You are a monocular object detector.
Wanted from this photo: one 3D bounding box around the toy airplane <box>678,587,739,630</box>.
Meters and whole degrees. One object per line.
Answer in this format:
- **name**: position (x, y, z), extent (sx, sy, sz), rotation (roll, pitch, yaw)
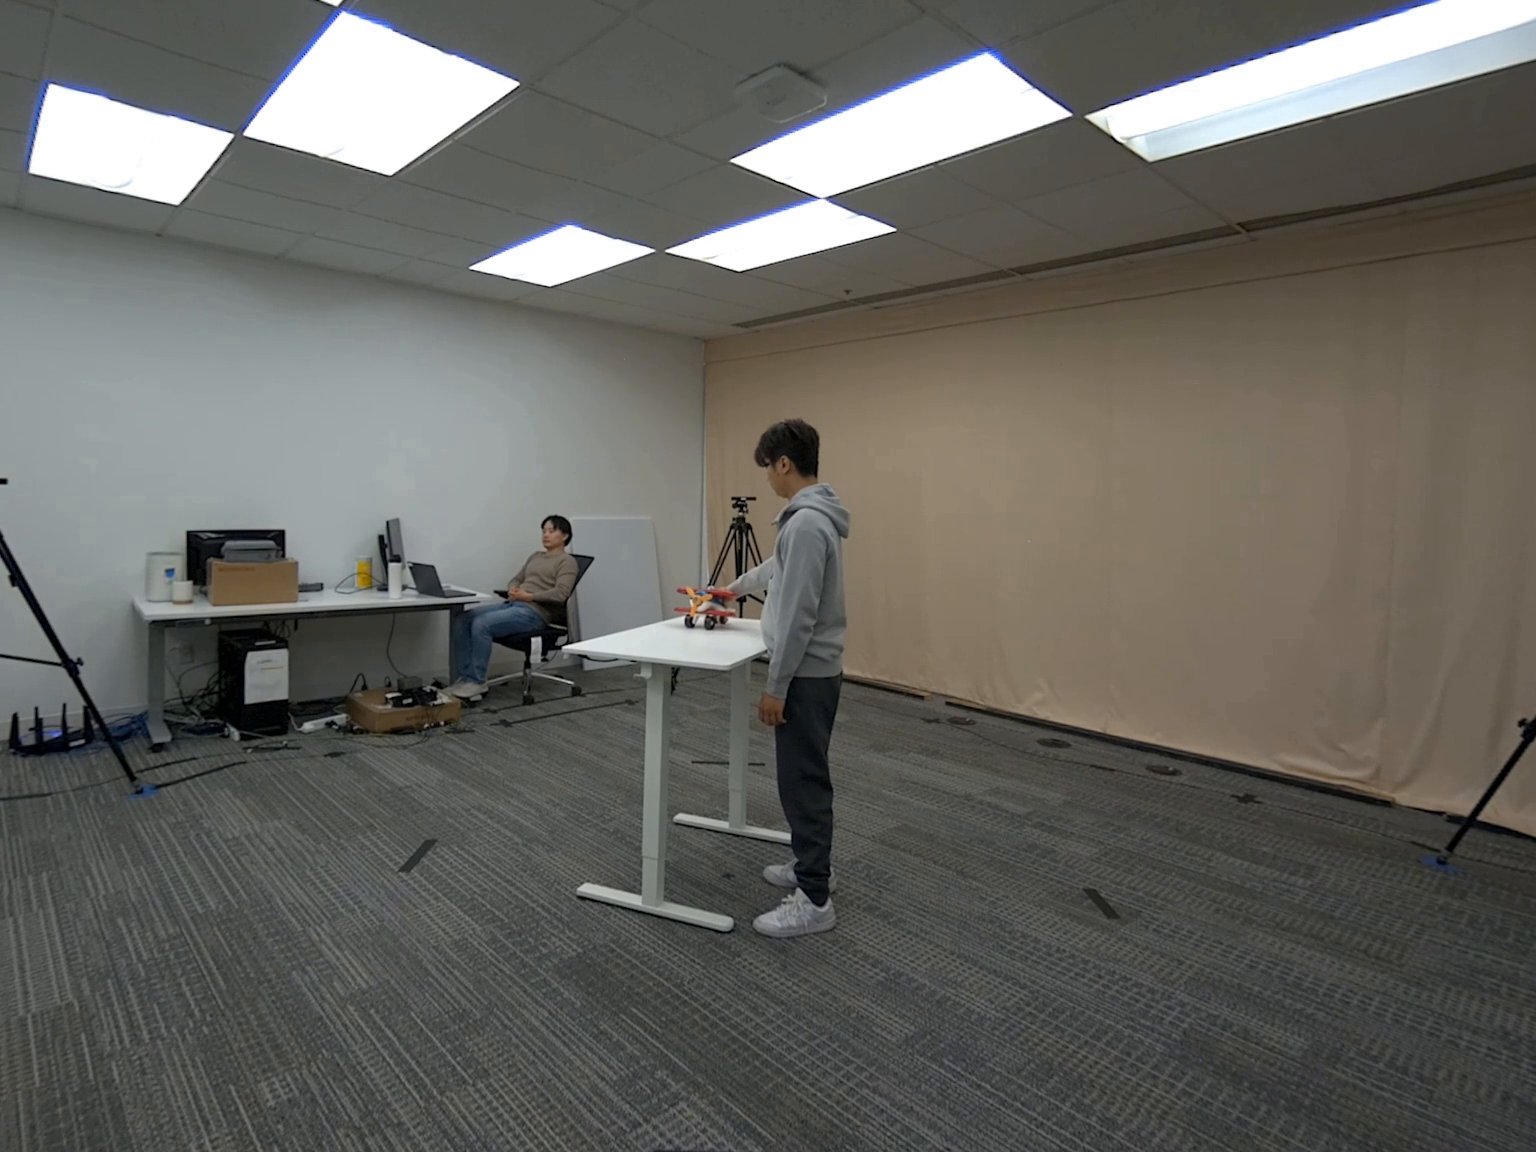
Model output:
- **toy airplane**: position (-0.259, 0.125, 3.362), extent (0.250, 0.156, 0.261), rotation (2, 5, -6)
